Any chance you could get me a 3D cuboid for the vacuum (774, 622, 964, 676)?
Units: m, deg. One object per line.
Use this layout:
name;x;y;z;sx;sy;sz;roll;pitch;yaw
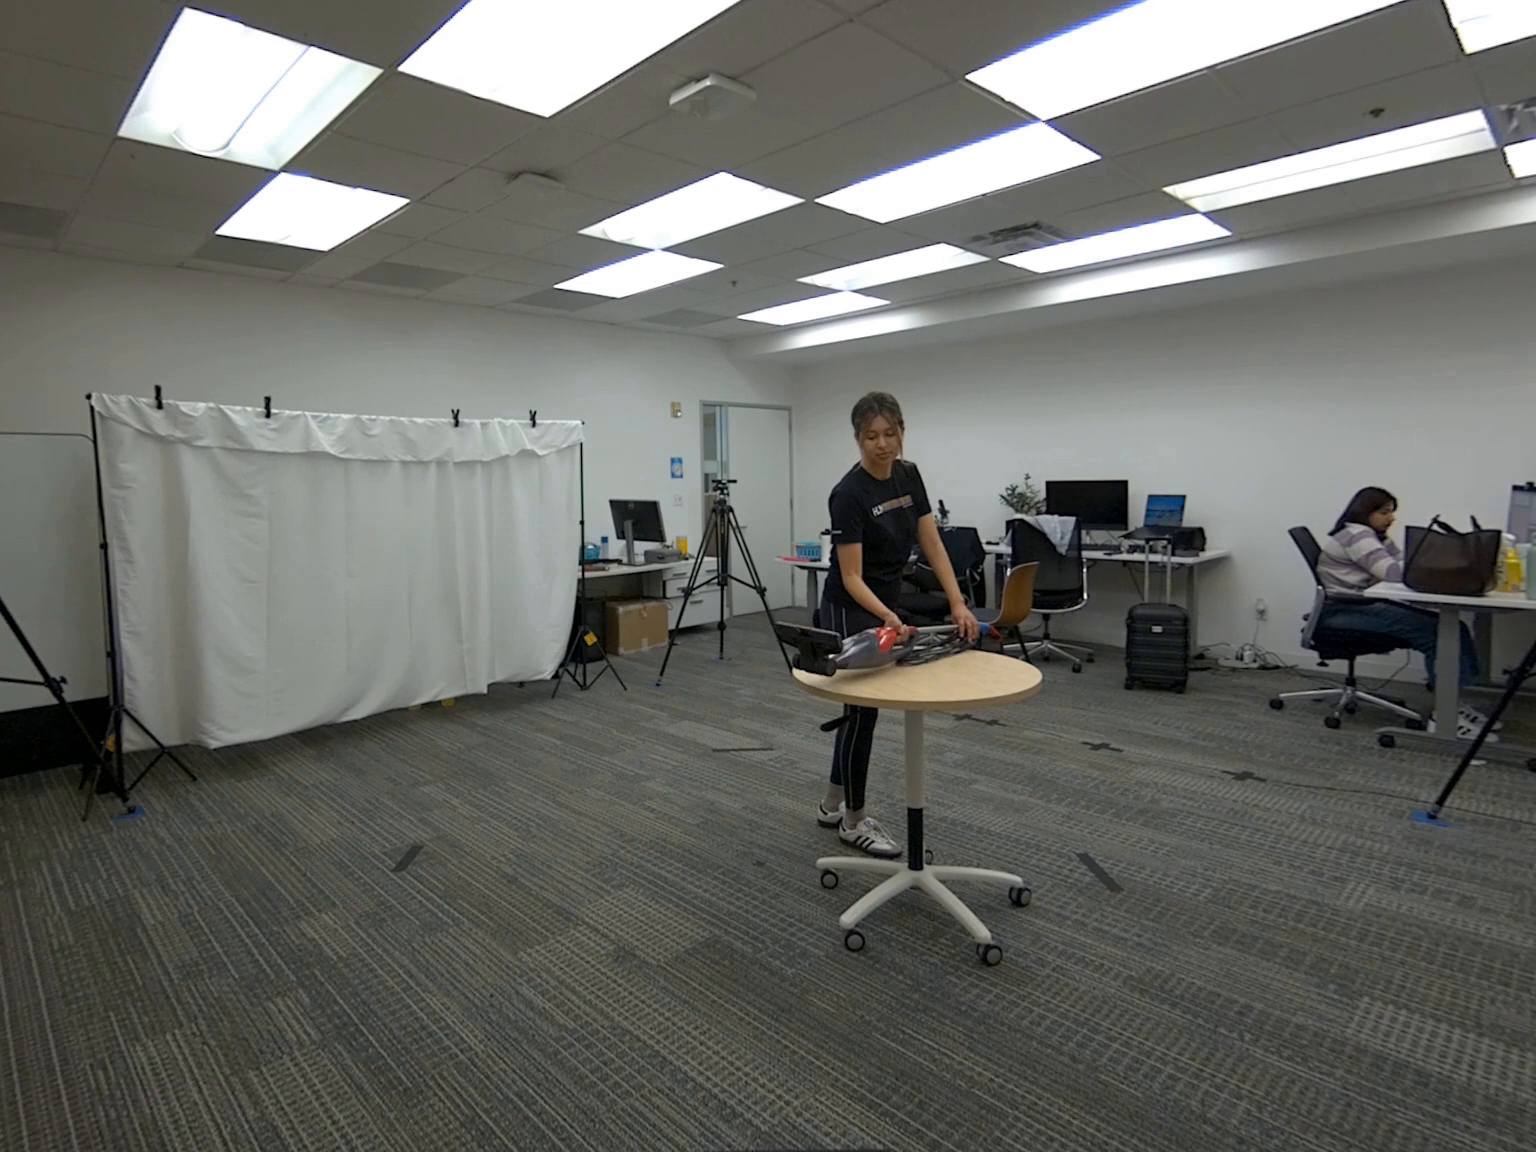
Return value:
vacuum;0.487;0.229;2.814;1.018;0.143;0.261;2;6;-42
